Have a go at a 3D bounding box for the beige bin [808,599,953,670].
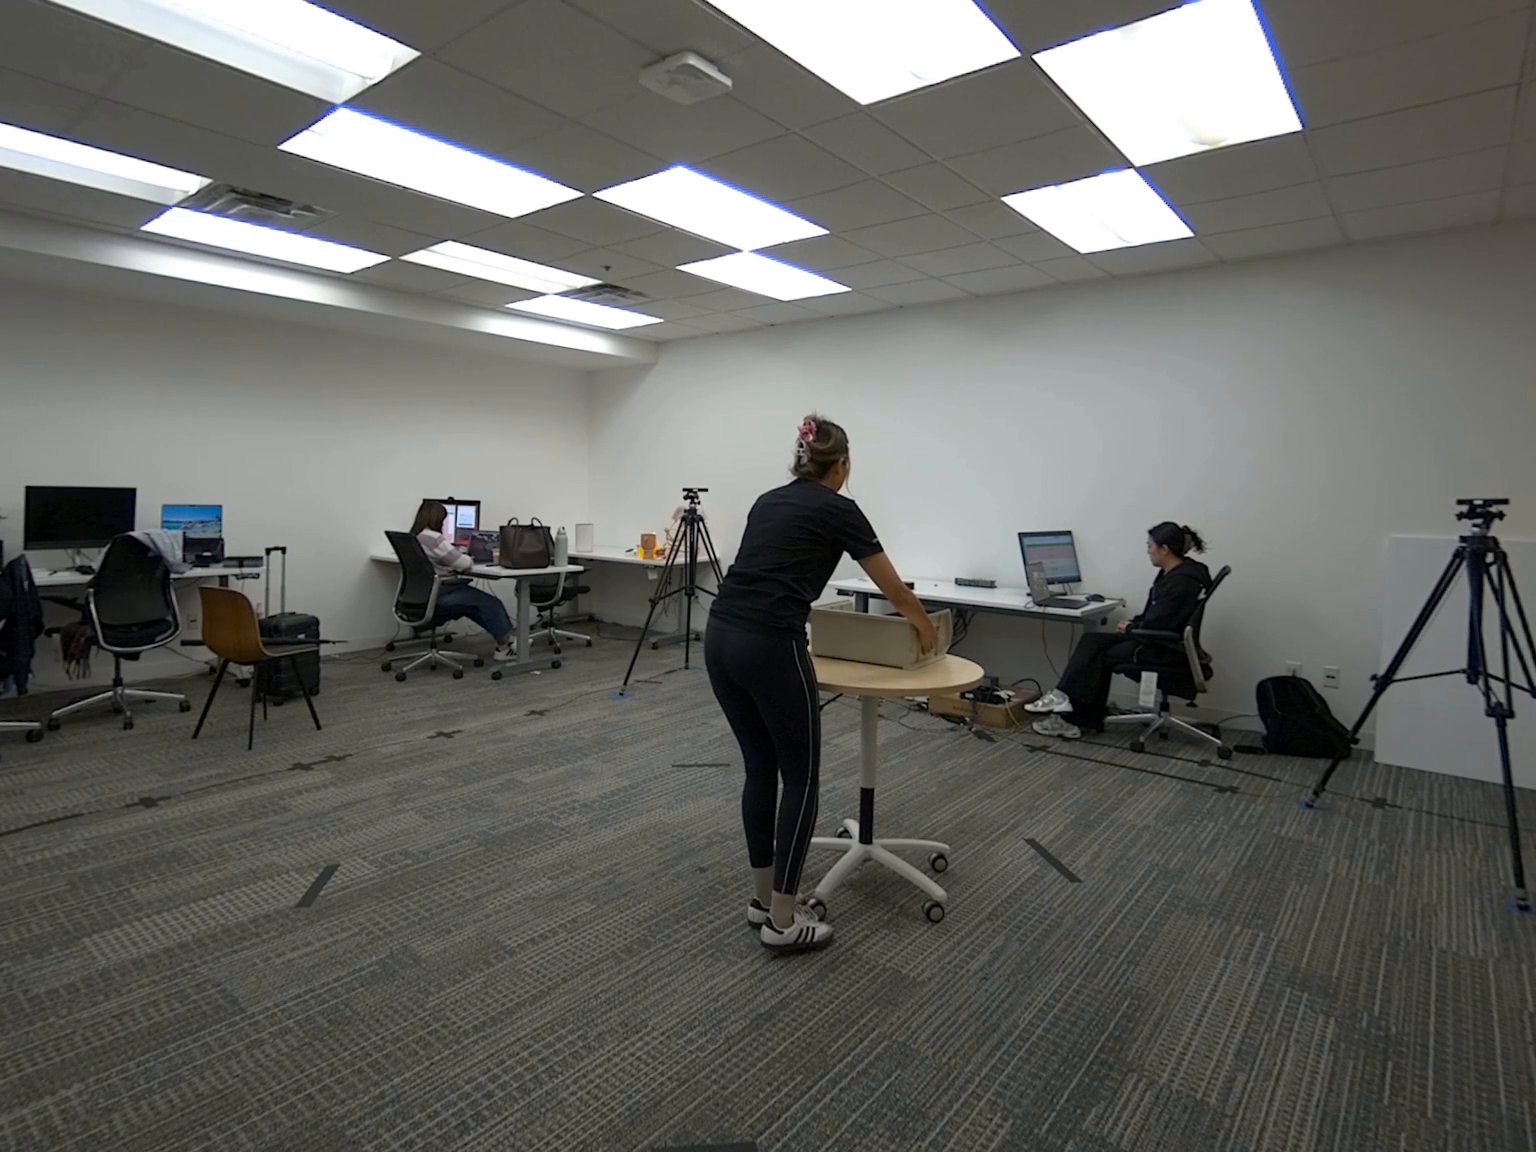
[{"bbox_3d":[0.404,0.197,3.160,0.435,0.187,0.369,6,12,30],"label":"beige bin"}]
